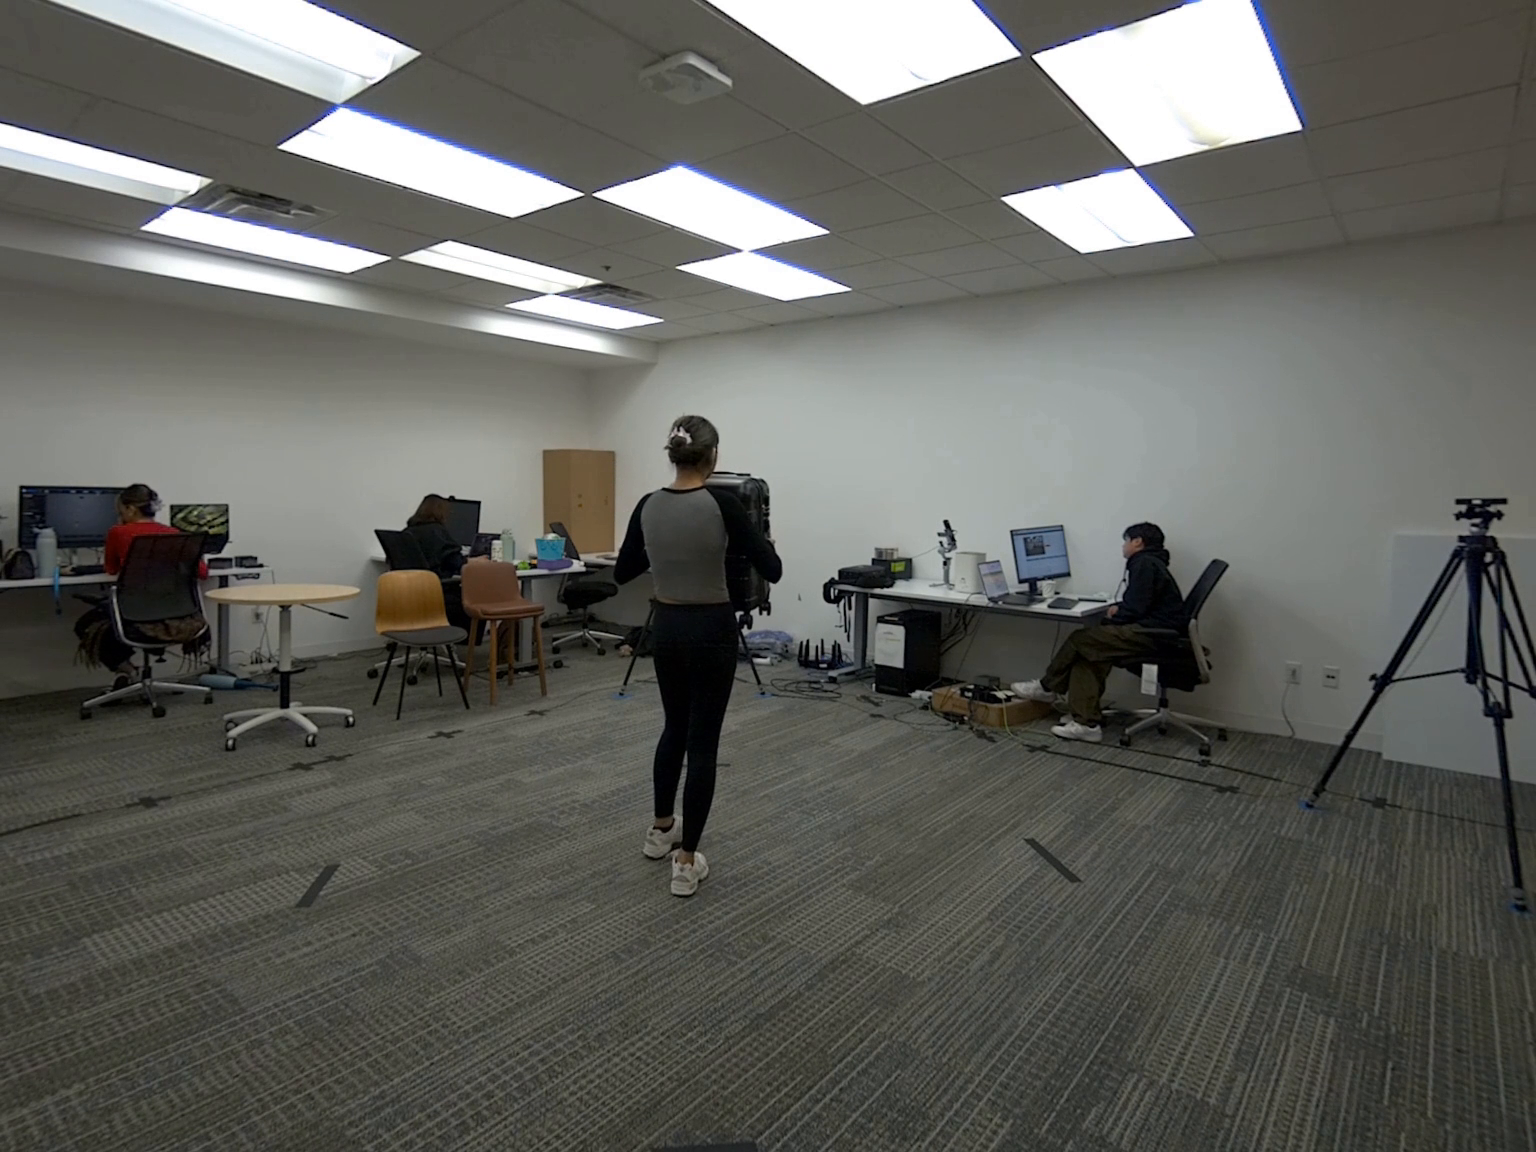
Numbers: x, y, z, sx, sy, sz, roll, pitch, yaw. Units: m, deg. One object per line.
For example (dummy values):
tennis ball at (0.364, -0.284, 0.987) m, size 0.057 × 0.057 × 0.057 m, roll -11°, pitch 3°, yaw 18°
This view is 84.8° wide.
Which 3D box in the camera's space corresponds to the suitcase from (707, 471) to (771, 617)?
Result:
suitcase at (-0.187, -0.119, 3.225) m, size 0.385 × 0.544 × 0.244 m, roll 4°, pitch 11°, yaw 23°
